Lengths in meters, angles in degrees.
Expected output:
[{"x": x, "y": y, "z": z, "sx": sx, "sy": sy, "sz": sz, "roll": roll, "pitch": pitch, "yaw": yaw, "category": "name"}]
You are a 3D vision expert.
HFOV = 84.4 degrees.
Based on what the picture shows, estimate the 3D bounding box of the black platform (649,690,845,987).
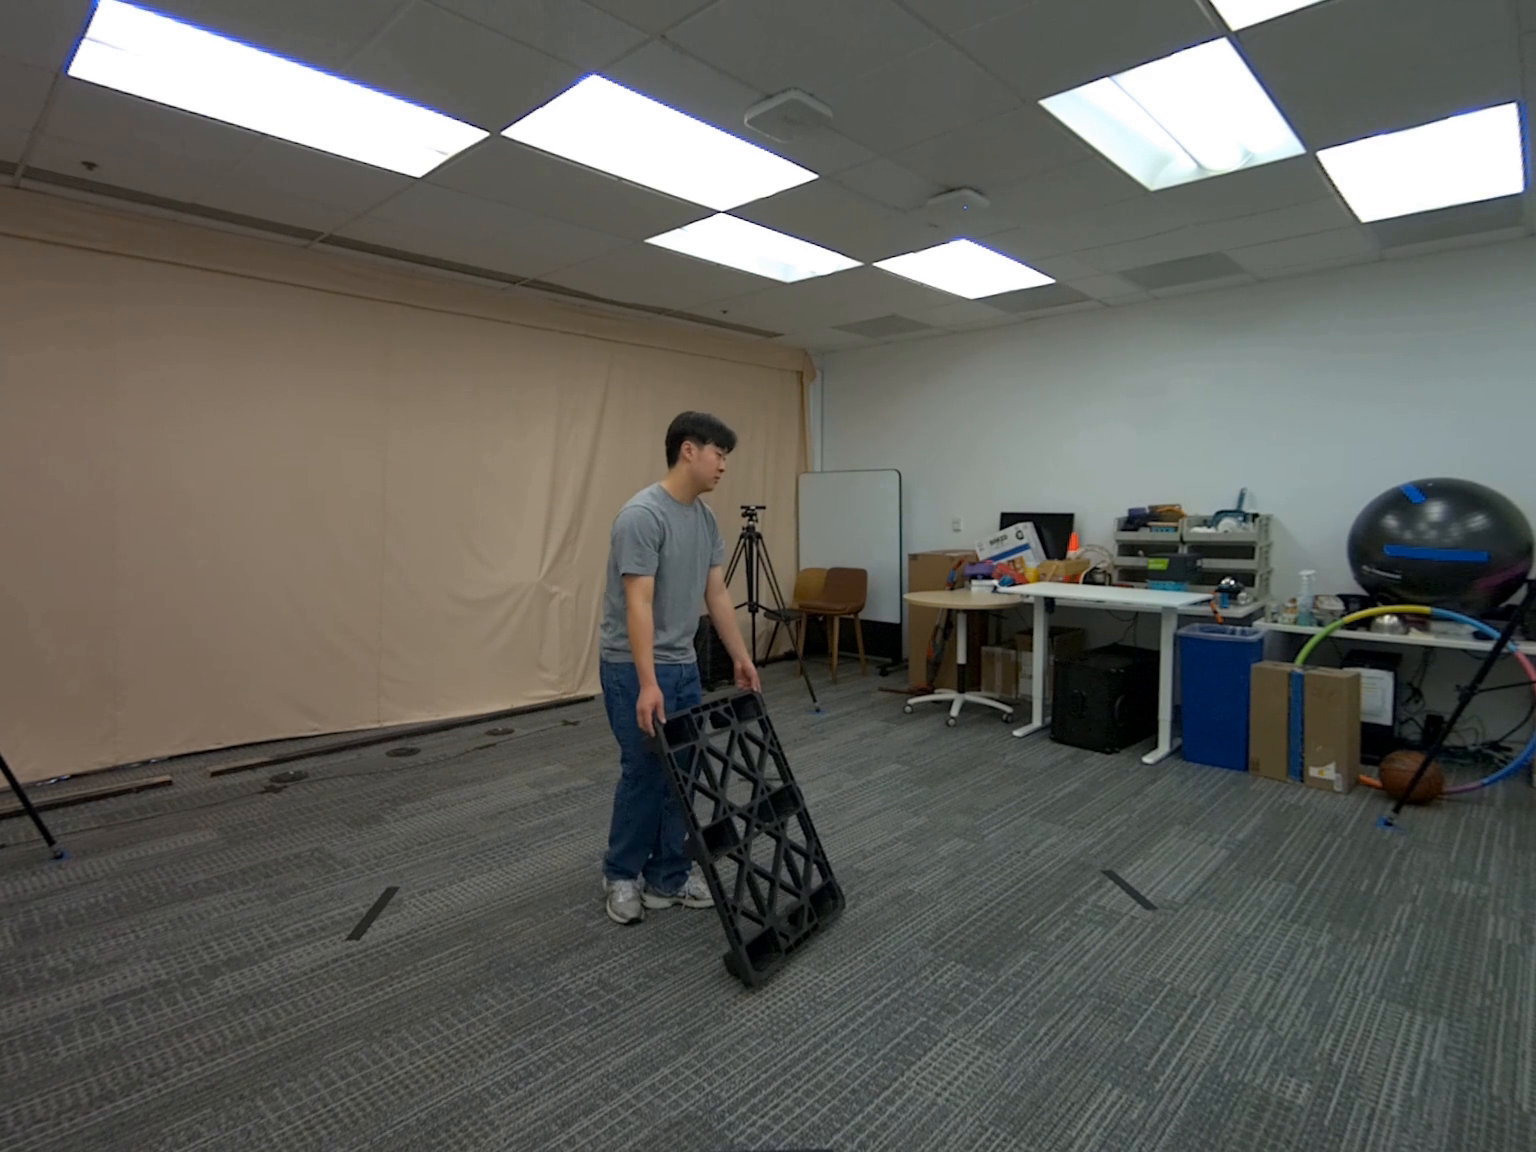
[{"x": -0.084, "y": 0.811, "z": 2.730, "sx": 0.145, "sy": 0.815, "sz": 0.588, "roll": -31, "pitch": -13, "yaw": 31, "category": "black platform"}]
